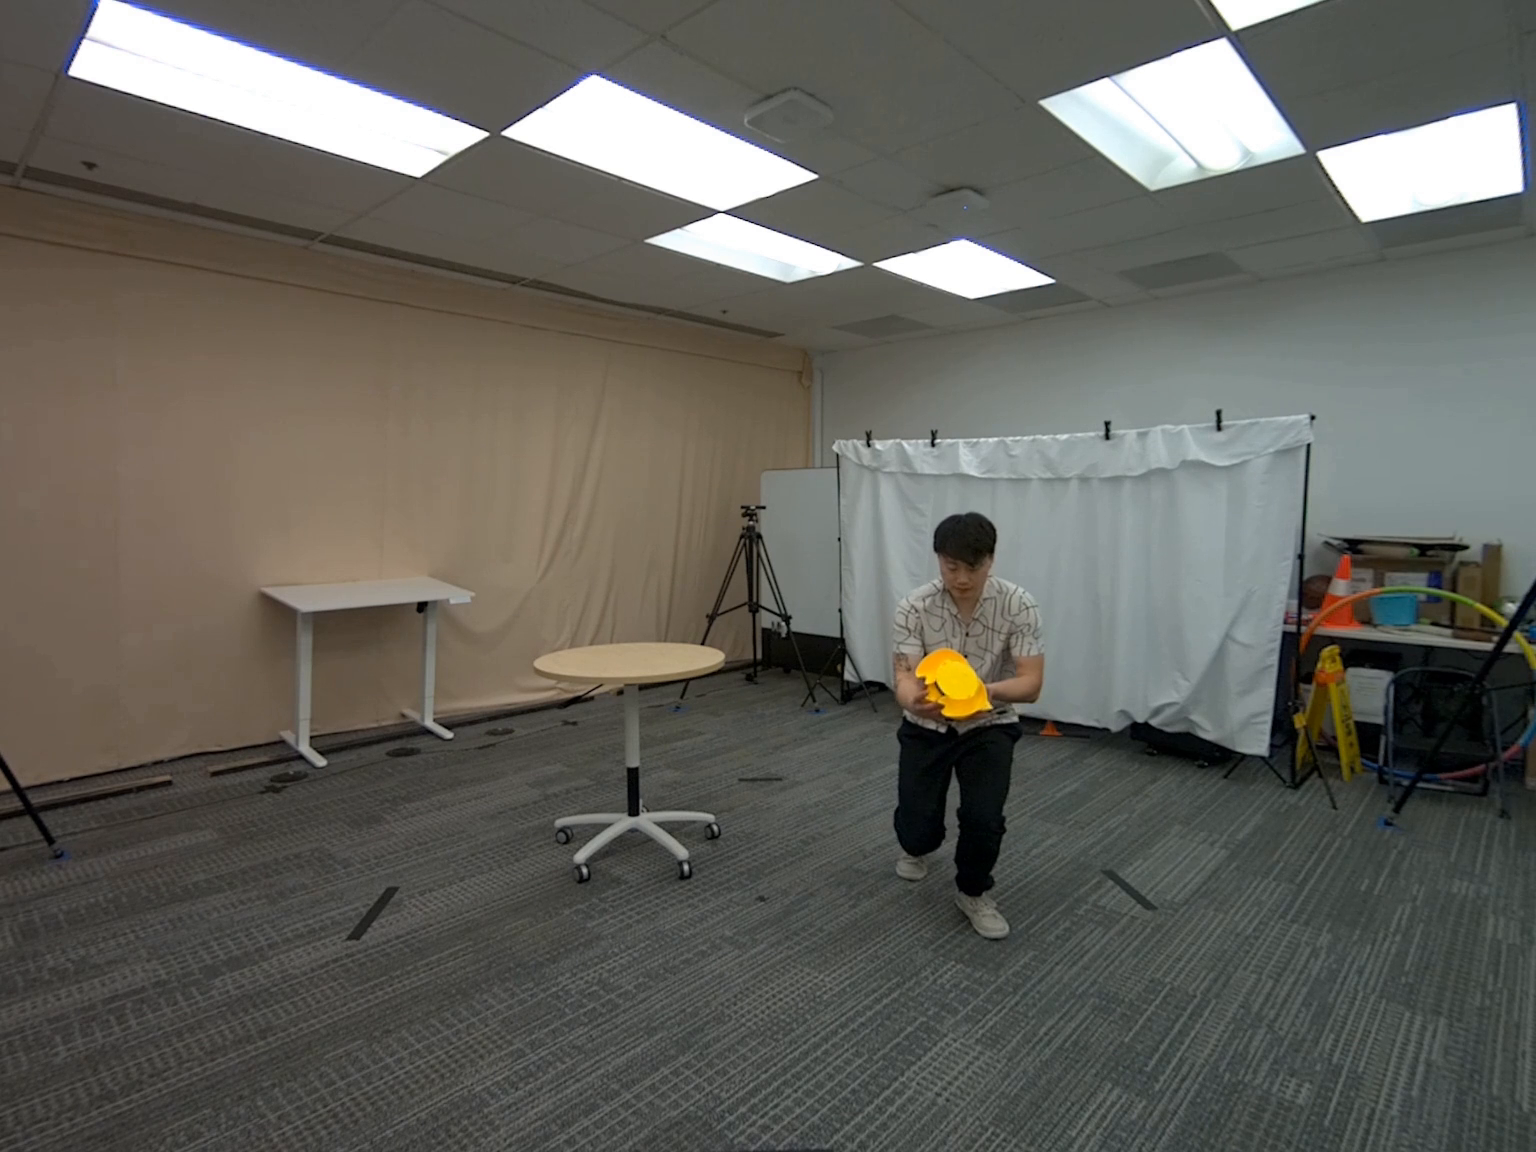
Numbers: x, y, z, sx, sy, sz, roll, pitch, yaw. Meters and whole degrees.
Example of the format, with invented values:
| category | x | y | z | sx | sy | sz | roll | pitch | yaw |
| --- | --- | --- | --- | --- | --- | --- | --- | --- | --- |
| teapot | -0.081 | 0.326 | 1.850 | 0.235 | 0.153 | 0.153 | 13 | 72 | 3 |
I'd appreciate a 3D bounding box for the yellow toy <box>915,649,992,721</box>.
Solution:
| category | x | y | z | sx | sy | sz | roll | pitch | yaw |
| --- | --- | --- | --- | --- | --- | --- | --- | --- | --- |
| yellow toy | 0.516 | 0.361 | 2.492 | 0.190 | 0.210 | 0.228 | -22 | -27 | -19 |
